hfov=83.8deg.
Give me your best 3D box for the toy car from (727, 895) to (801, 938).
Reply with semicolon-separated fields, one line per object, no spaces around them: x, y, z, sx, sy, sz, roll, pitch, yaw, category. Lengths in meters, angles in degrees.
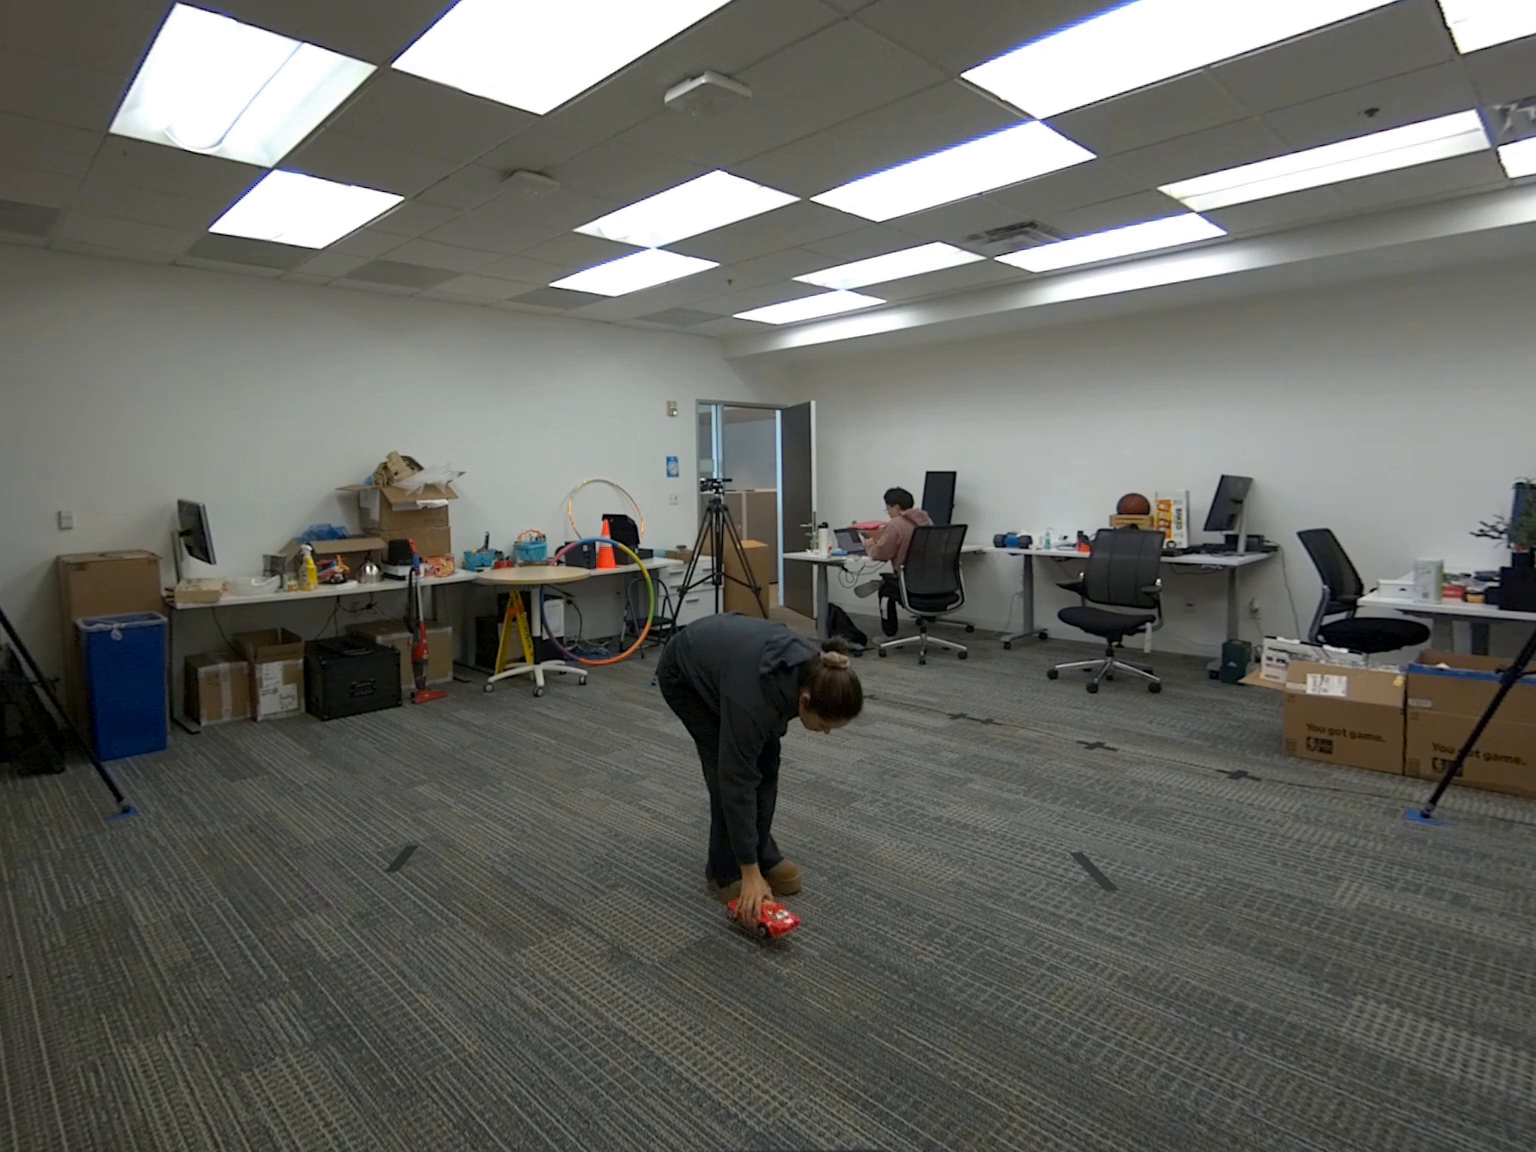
0.001;1.023;2.587;0.127;0.084;0.260;-4;-6;-41;toy car
